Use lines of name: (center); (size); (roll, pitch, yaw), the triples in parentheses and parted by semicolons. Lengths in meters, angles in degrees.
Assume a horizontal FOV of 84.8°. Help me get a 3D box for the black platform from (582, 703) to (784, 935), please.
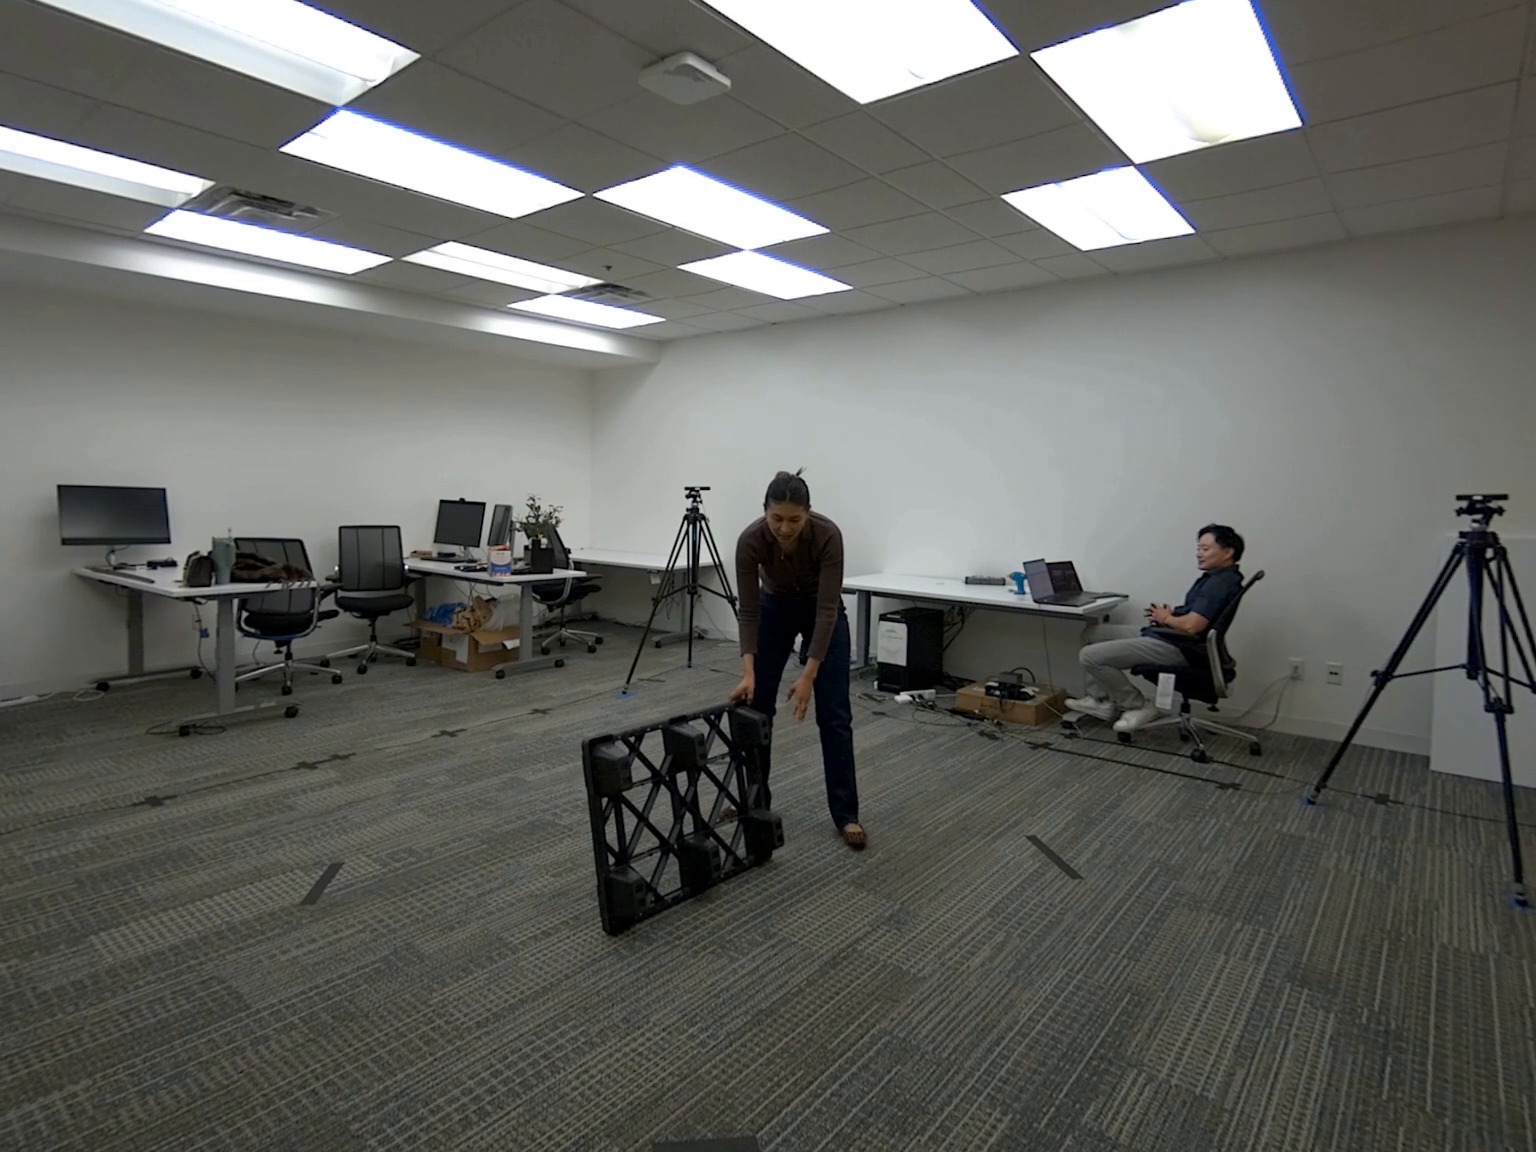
black platform: (-0.266, 0.783, 2.899); (0.147, 0.608, 0.782); (-13, -5, 41)
